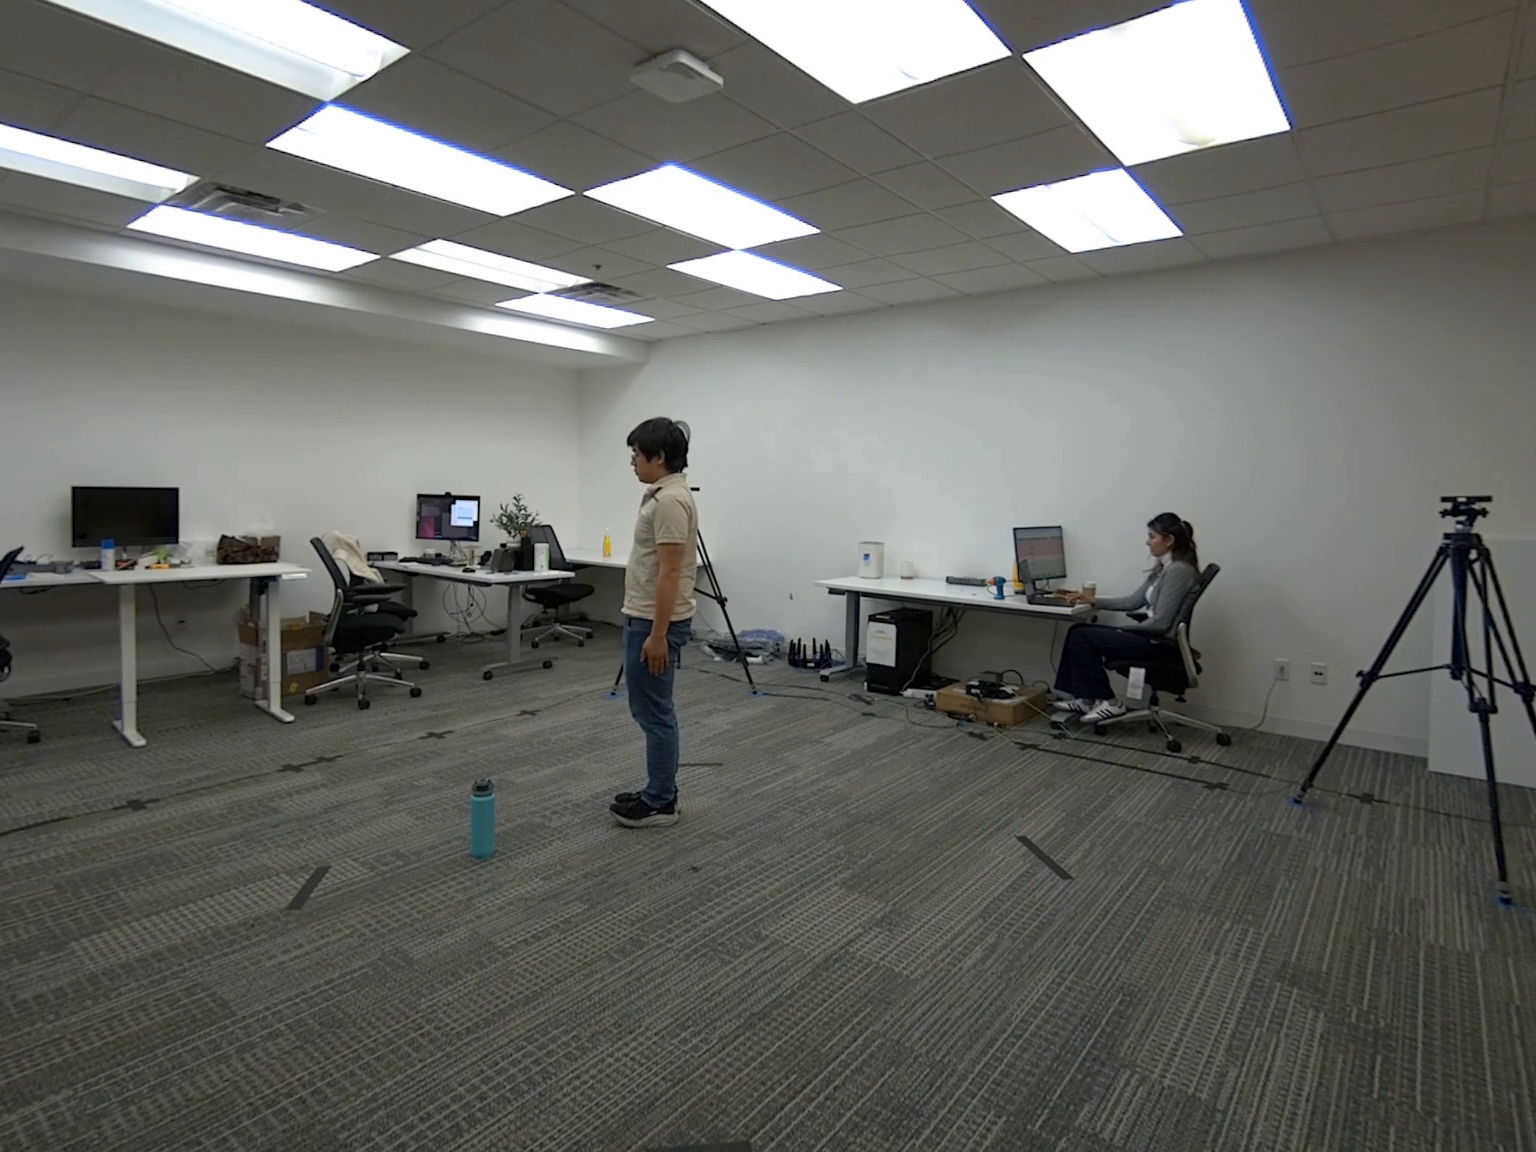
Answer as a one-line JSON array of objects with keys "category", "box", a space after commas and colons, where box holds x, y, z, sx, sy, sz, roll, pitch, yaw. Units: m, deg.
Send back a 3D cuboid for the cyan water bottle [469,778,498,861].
[{"category": "cyan water bottle", "box": [-1.092, 0.904, 3.209, 0.092, 0.283, 0.092, 1, 2, -2]}]
